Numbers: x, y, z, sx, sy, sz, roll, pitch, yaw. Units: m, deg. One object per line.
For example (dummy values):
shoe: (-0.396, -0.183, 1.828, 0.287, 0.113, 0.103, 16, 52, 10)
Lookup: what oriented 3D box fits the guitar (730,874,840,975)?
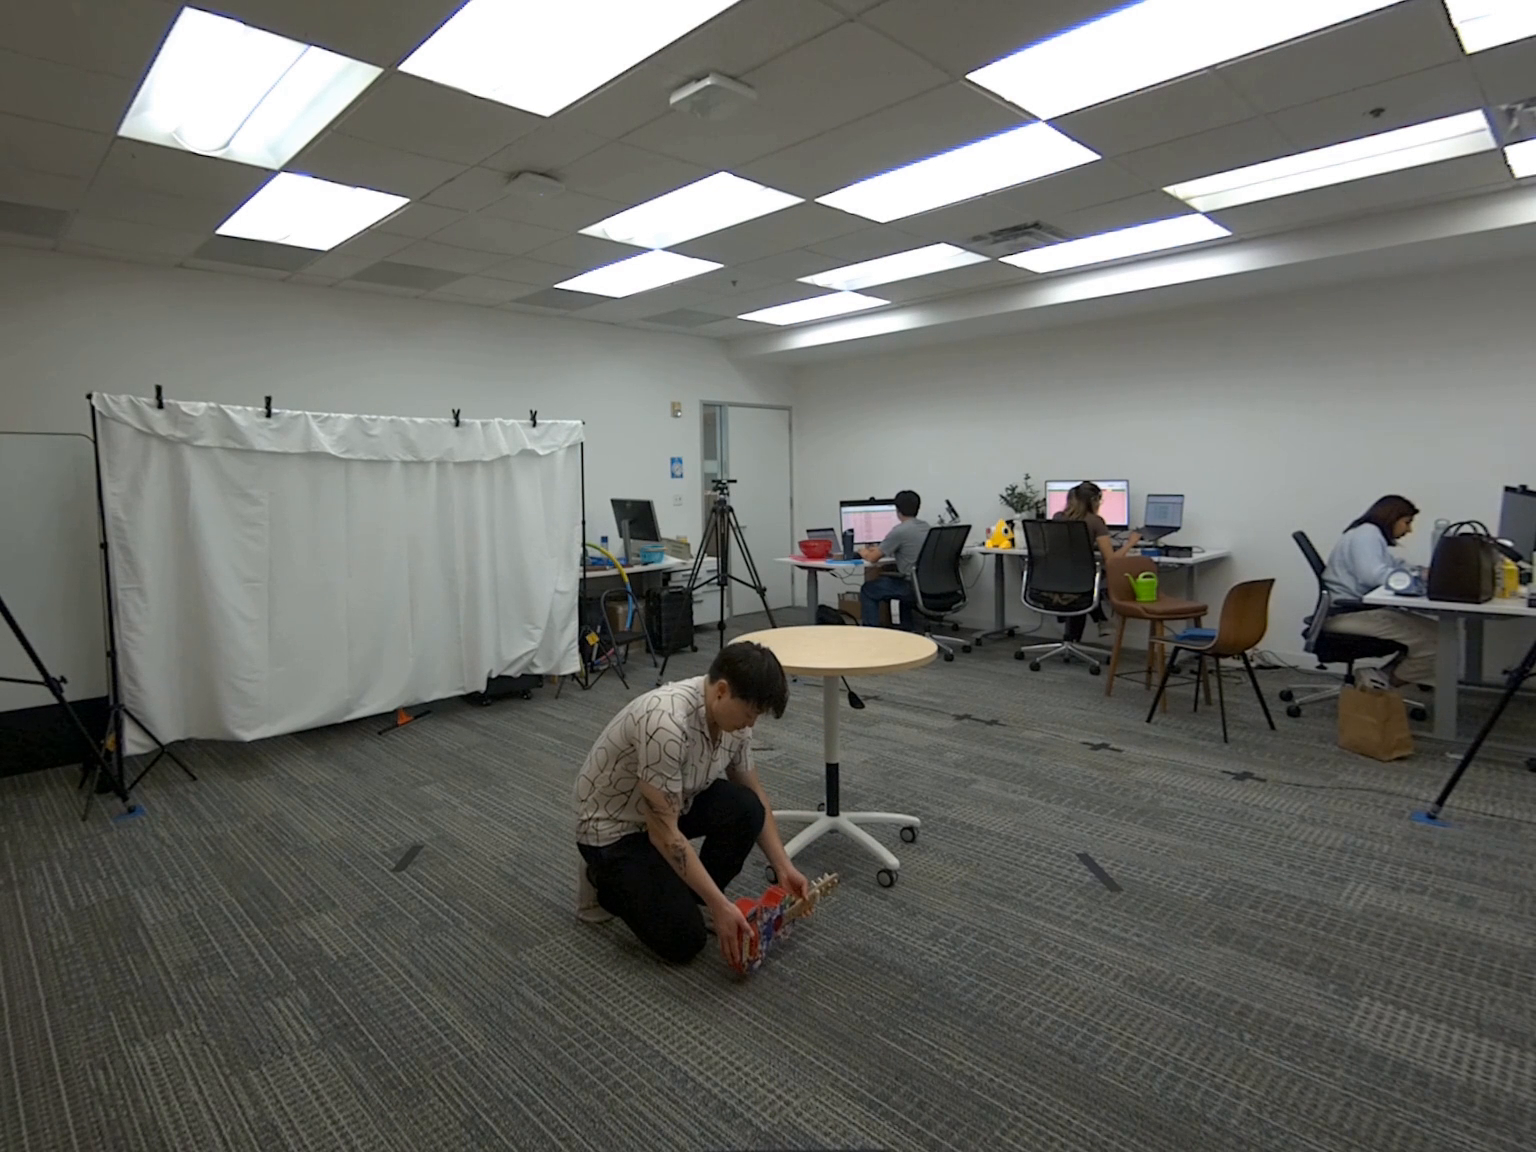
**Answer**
guitar: (0.048, 1.015, 2.530, 0.073, 0.193, 0.482, 4, -1, 39)
